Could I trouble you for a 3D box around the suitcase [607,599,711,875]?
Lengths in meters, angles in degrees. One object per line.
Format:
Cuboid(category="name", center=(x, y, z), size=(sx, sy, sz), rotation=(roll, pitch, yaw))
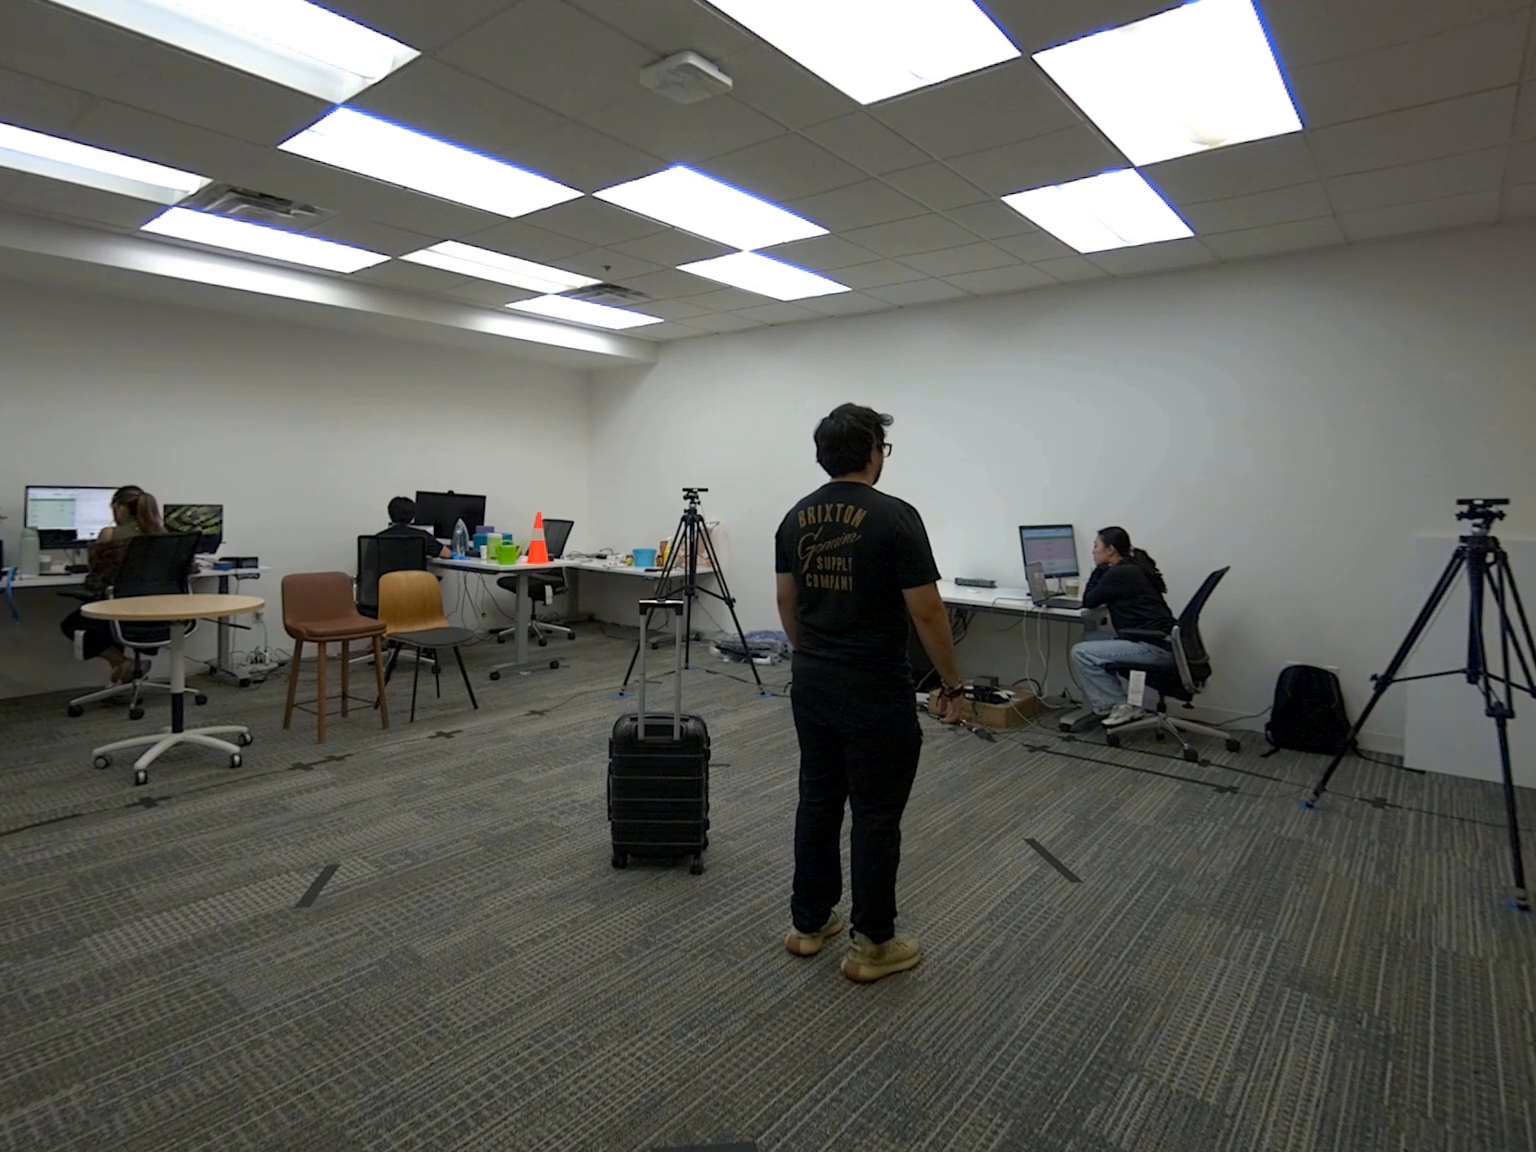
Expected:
Cuboid(category="suitcase", center=(-0.416, 0.582, 3.184), size=(0.383, 0.978, 0.258), rotation=(1, 1, -2))
